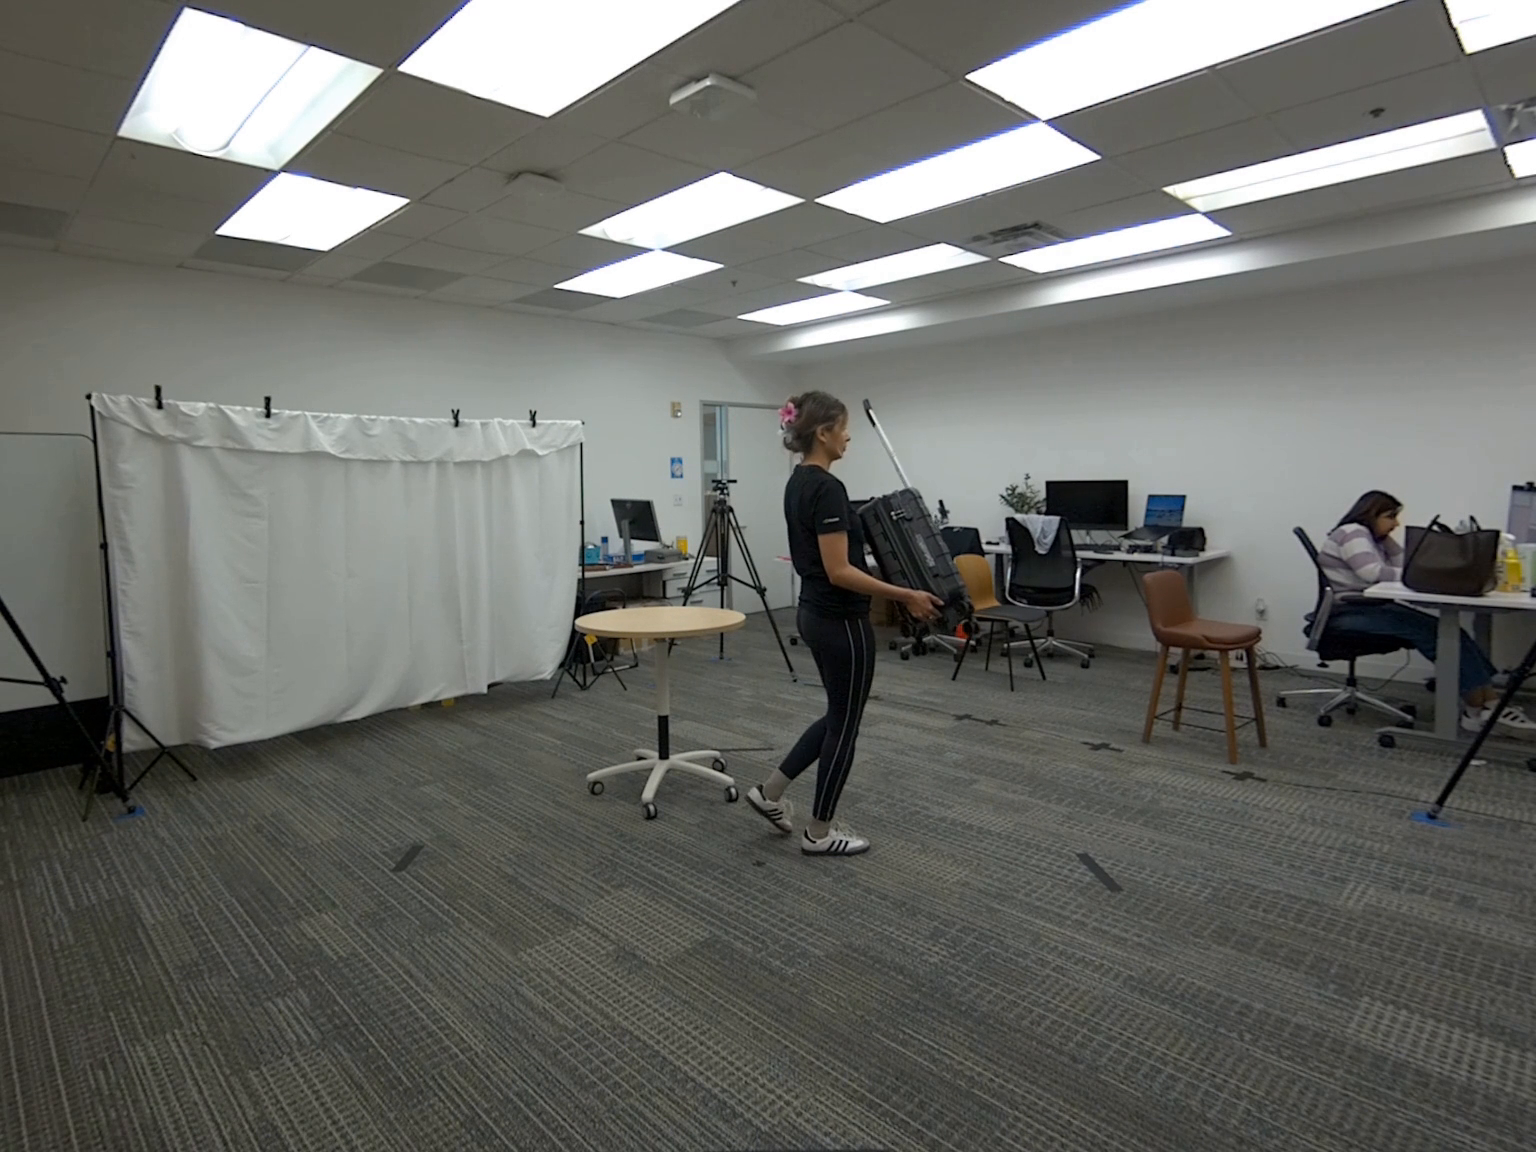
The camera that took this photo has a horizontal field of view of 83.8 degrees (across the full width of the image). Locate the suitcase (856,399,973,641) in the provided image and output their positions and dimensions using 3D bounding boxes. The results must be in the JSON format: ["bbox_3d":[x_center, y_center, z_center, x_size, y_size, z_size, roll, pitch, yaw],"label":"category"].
[{"bbox_3d":[0.479,-0.219,3.280,0.258,1.005,0.372,-24,-24,7],"label":"suitcase"}]
